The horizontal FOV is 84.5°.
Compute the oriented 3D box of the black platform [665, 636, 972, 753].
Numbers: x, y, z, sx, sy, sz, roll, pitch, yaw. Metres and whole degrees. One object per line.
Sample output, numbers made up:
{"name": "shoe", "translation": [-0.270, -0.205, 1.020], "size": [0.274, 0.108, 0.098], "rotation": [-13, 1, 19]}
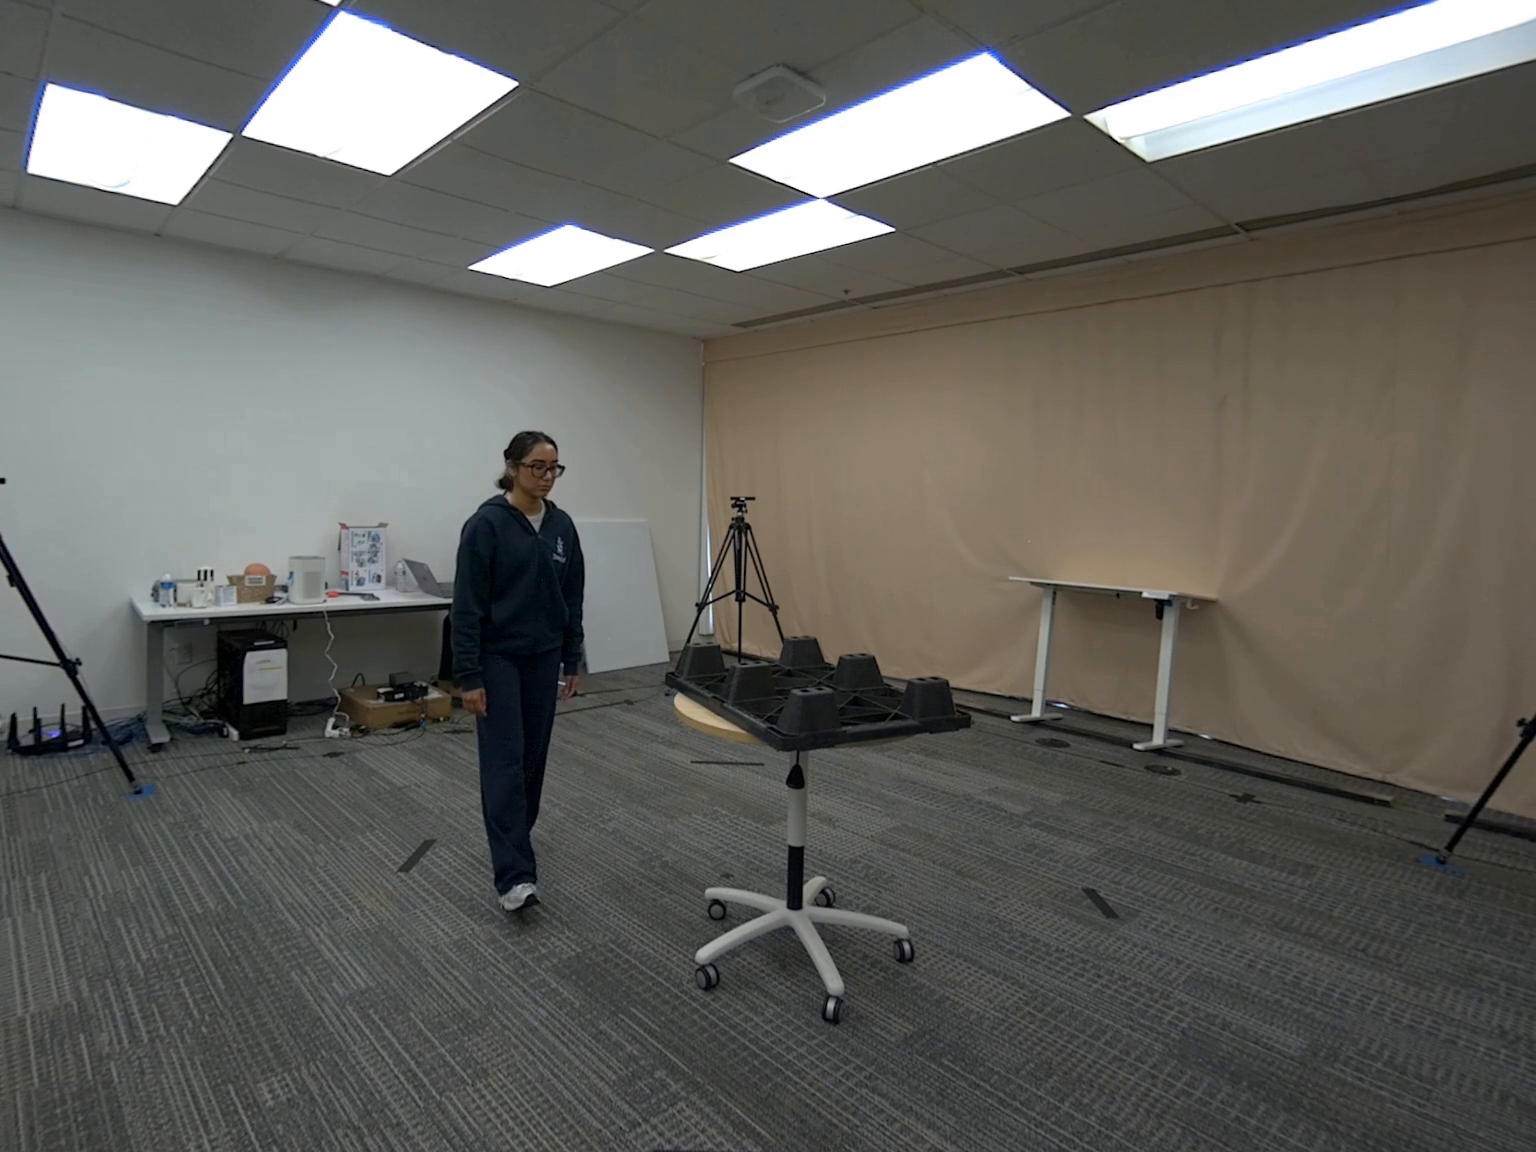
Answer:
{"name": "black platform", "translation": [0.116, 0.321, 2.520], "size": [0.594, 0.143, 0.823], "rotation": [-2, 7, -28]}
